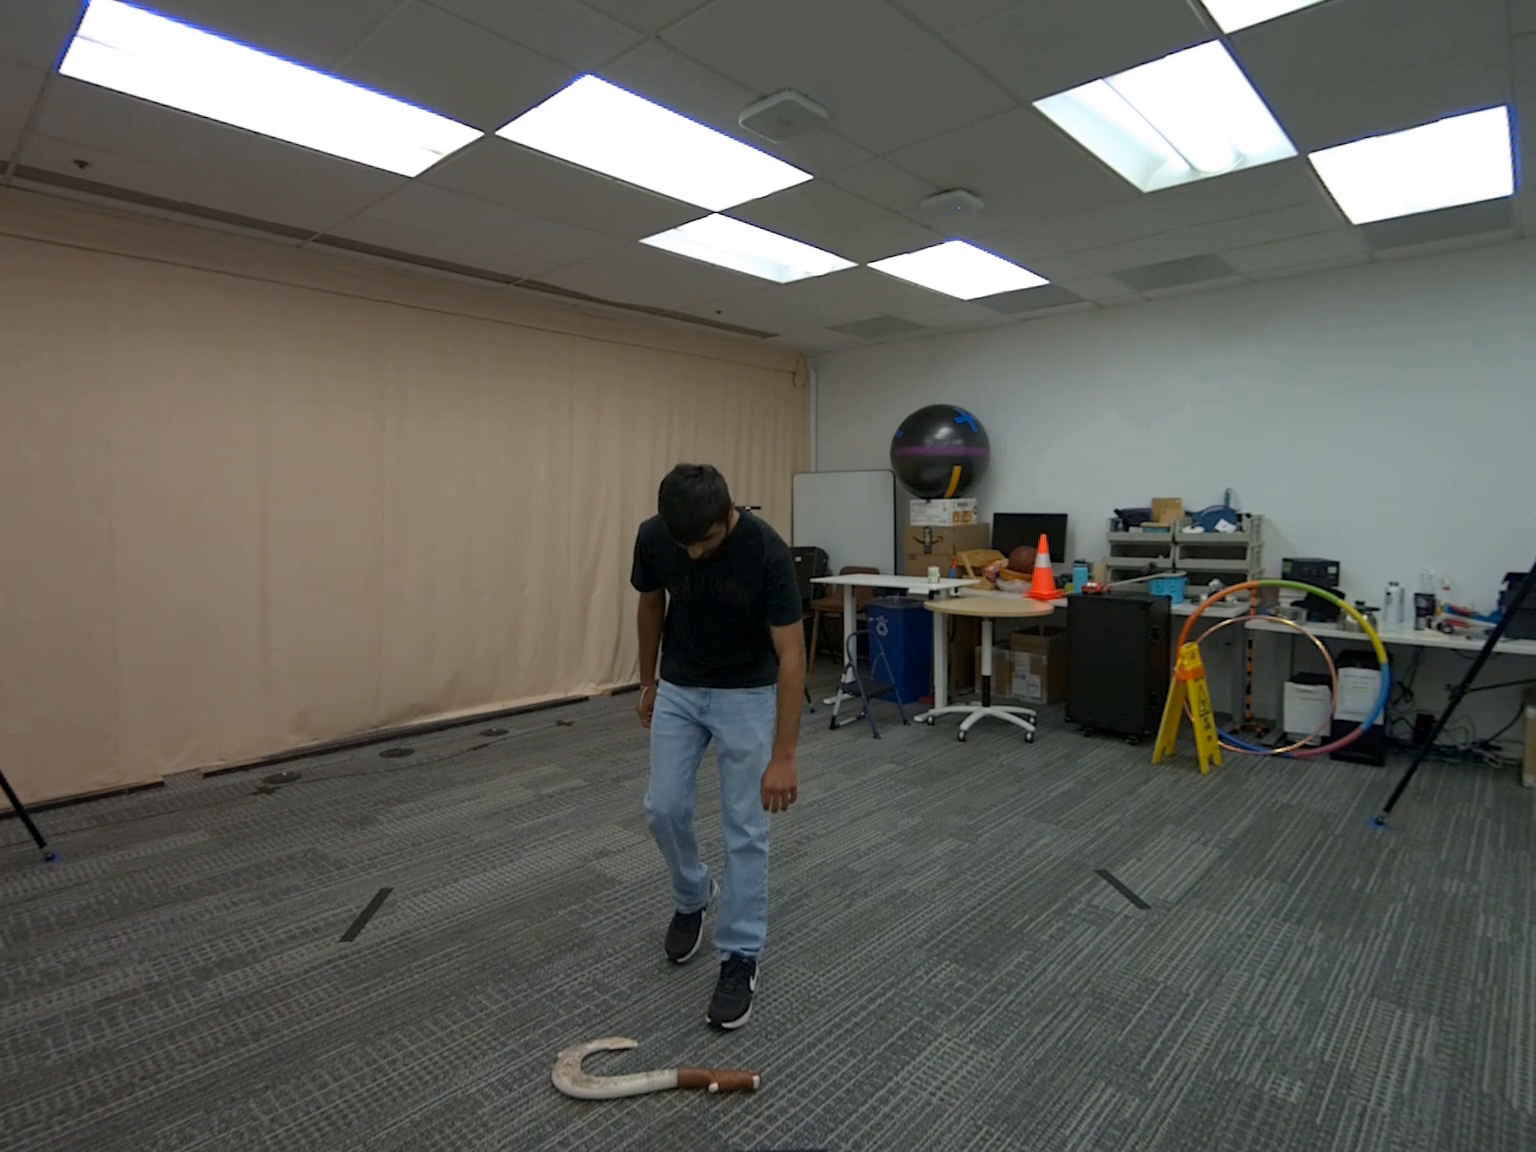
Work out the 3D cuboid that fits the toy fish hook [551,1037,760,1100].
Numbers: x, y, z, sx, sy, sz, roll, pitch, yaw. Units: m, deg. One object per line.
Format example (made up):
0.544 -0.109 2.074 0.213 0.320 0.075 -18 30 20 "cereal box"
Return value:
-0.270 1.199 2.063 0.507 0.048 0.225 0 5 1 "toy fish hook"
